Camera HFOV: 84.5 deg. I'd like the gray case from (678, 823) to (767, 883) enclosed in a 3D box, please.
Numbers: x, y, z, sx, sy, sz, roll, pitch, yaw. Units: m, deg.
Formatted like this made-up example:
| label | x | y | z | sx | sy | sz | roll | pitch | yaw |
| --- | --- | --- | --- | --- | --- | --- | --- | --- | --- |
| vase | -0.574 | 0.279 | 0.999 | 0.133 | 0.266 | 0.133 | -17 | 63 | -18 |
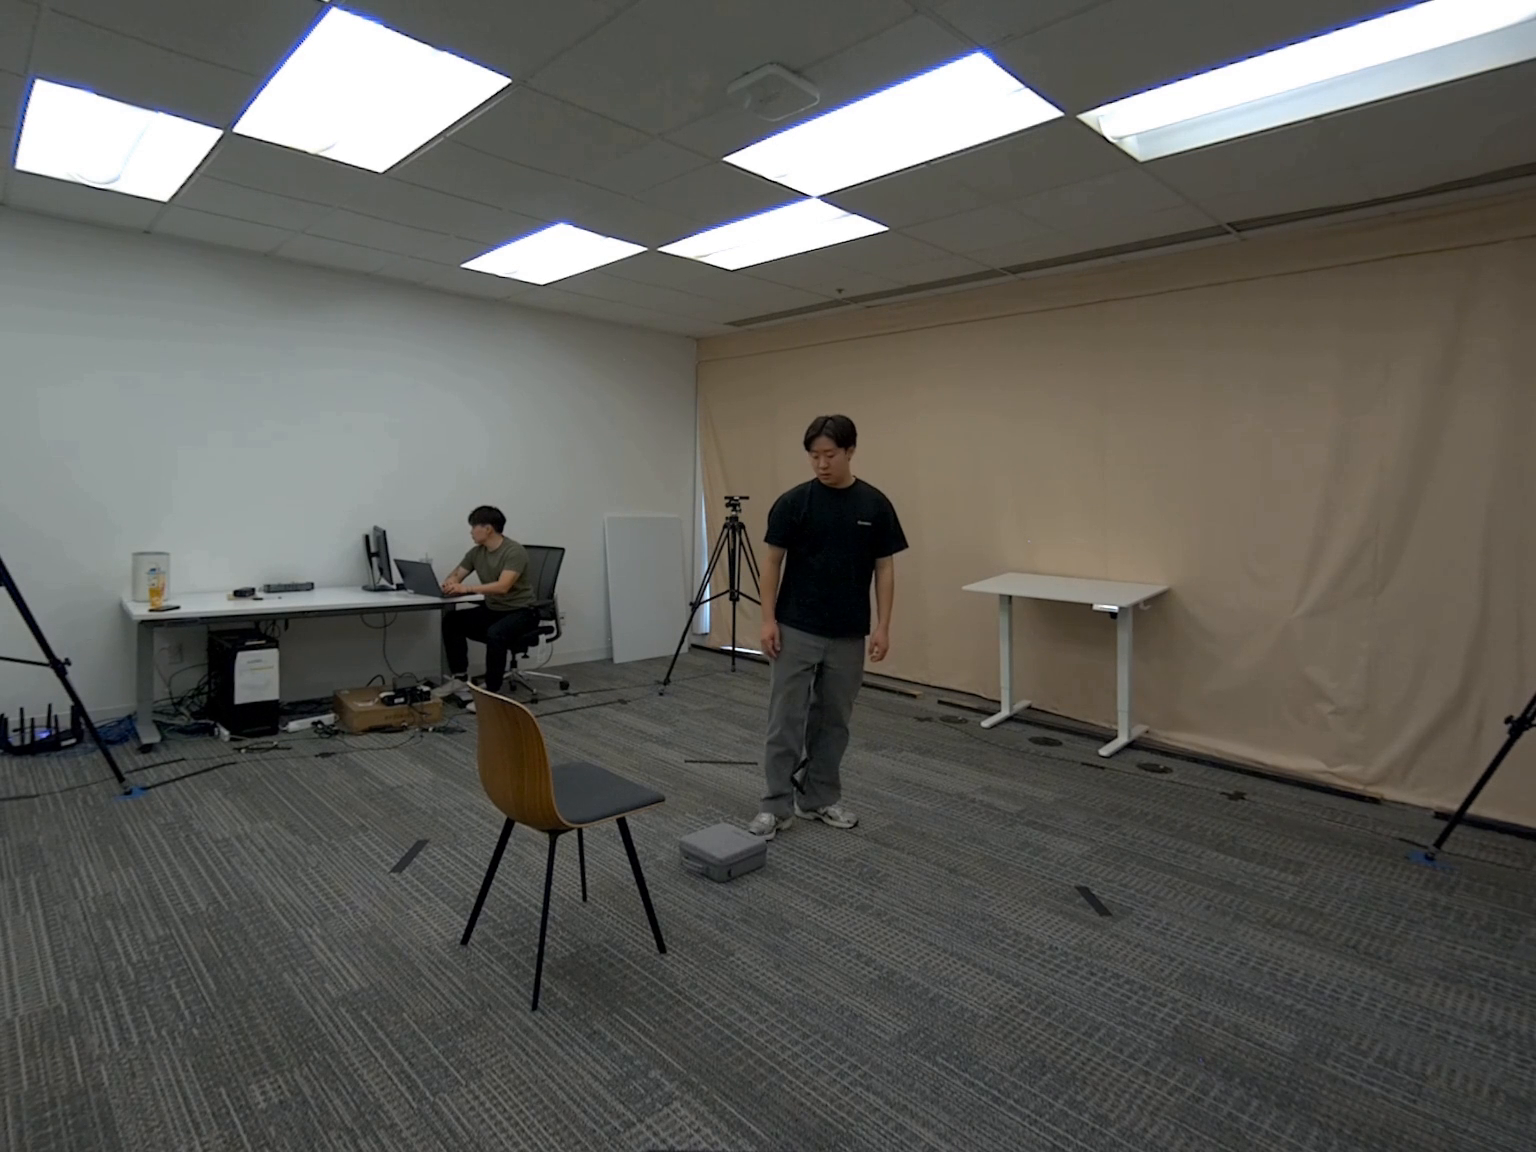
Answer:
| label | x | y | z | sx | sy | sz | roll | pitch | yaw |
| --- | --- | --- | --- | --- | --- | --- | --- | --- | --- |
| gray case | -0.182 | 1.043 | 3.177 | 0.281 | 0.102 | 0.270 | -5 | 8 | -44 |
